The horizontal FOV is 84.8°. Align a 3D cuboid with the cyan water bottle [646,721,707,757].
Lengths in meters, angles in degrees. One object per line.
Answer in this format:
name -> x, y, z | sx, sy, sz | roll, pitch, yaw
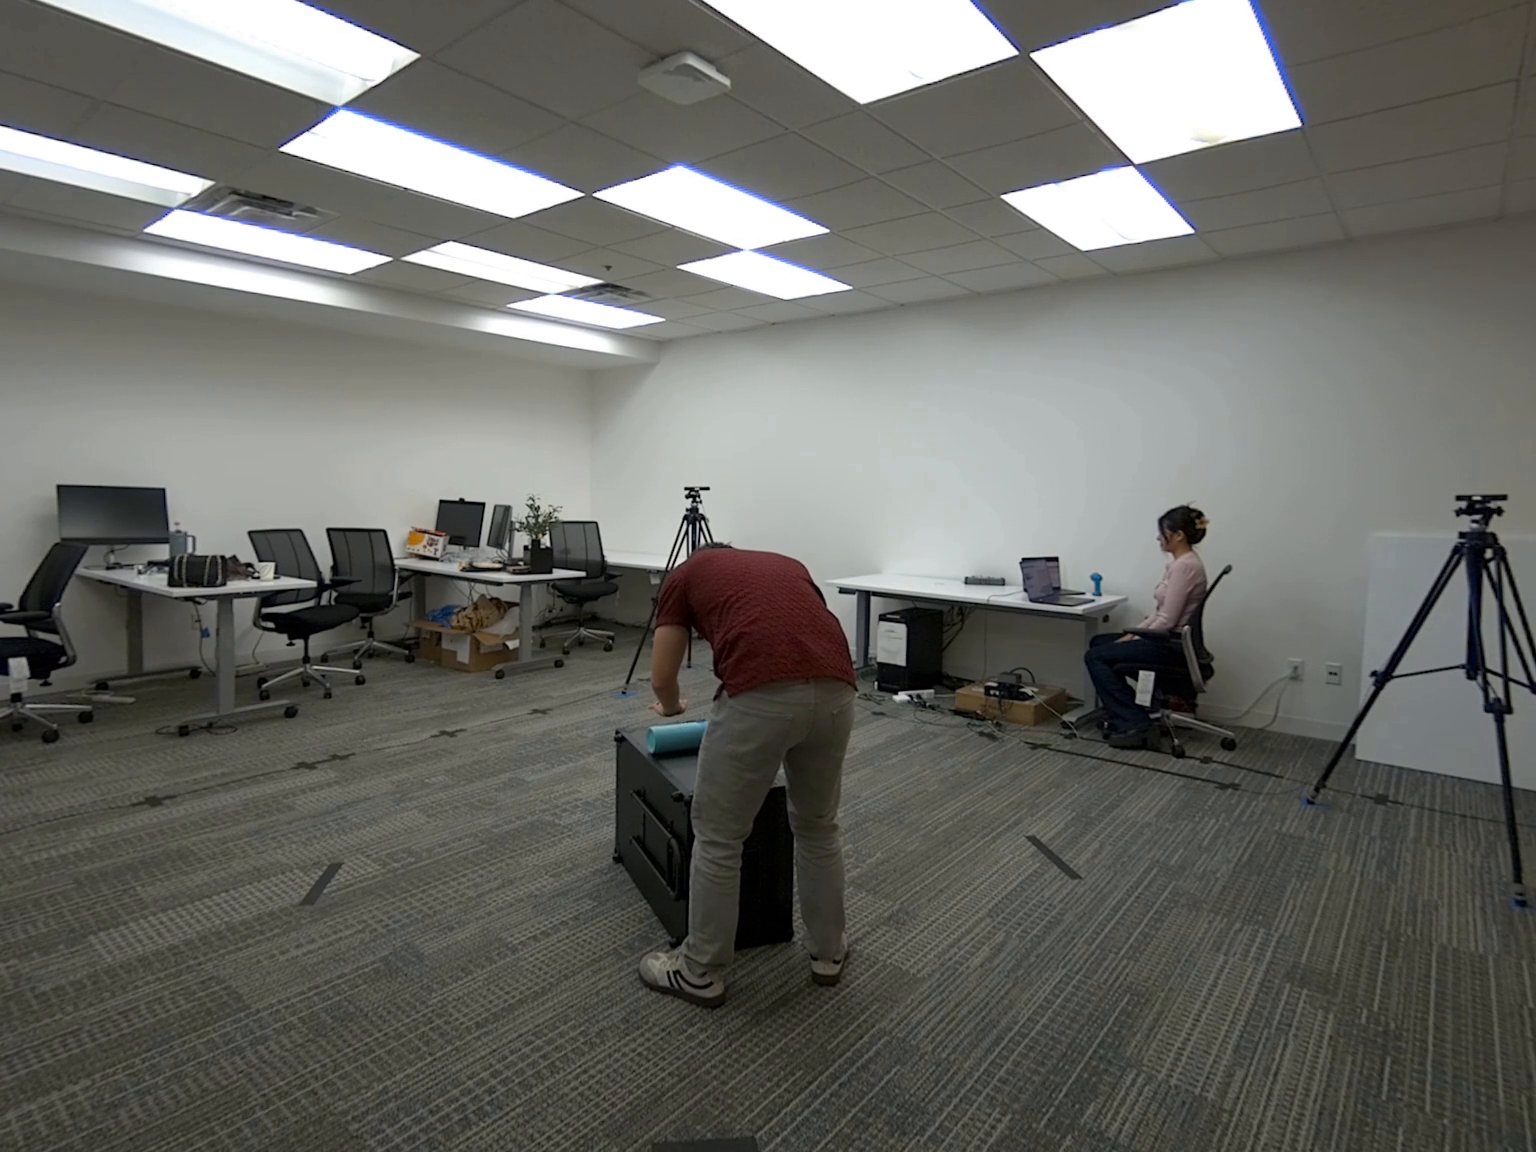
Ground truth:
cyan water bottle -> -0.284, 0.549, 2.946 | 0.277, 0.092, 0.095 | 2, 3, -24
